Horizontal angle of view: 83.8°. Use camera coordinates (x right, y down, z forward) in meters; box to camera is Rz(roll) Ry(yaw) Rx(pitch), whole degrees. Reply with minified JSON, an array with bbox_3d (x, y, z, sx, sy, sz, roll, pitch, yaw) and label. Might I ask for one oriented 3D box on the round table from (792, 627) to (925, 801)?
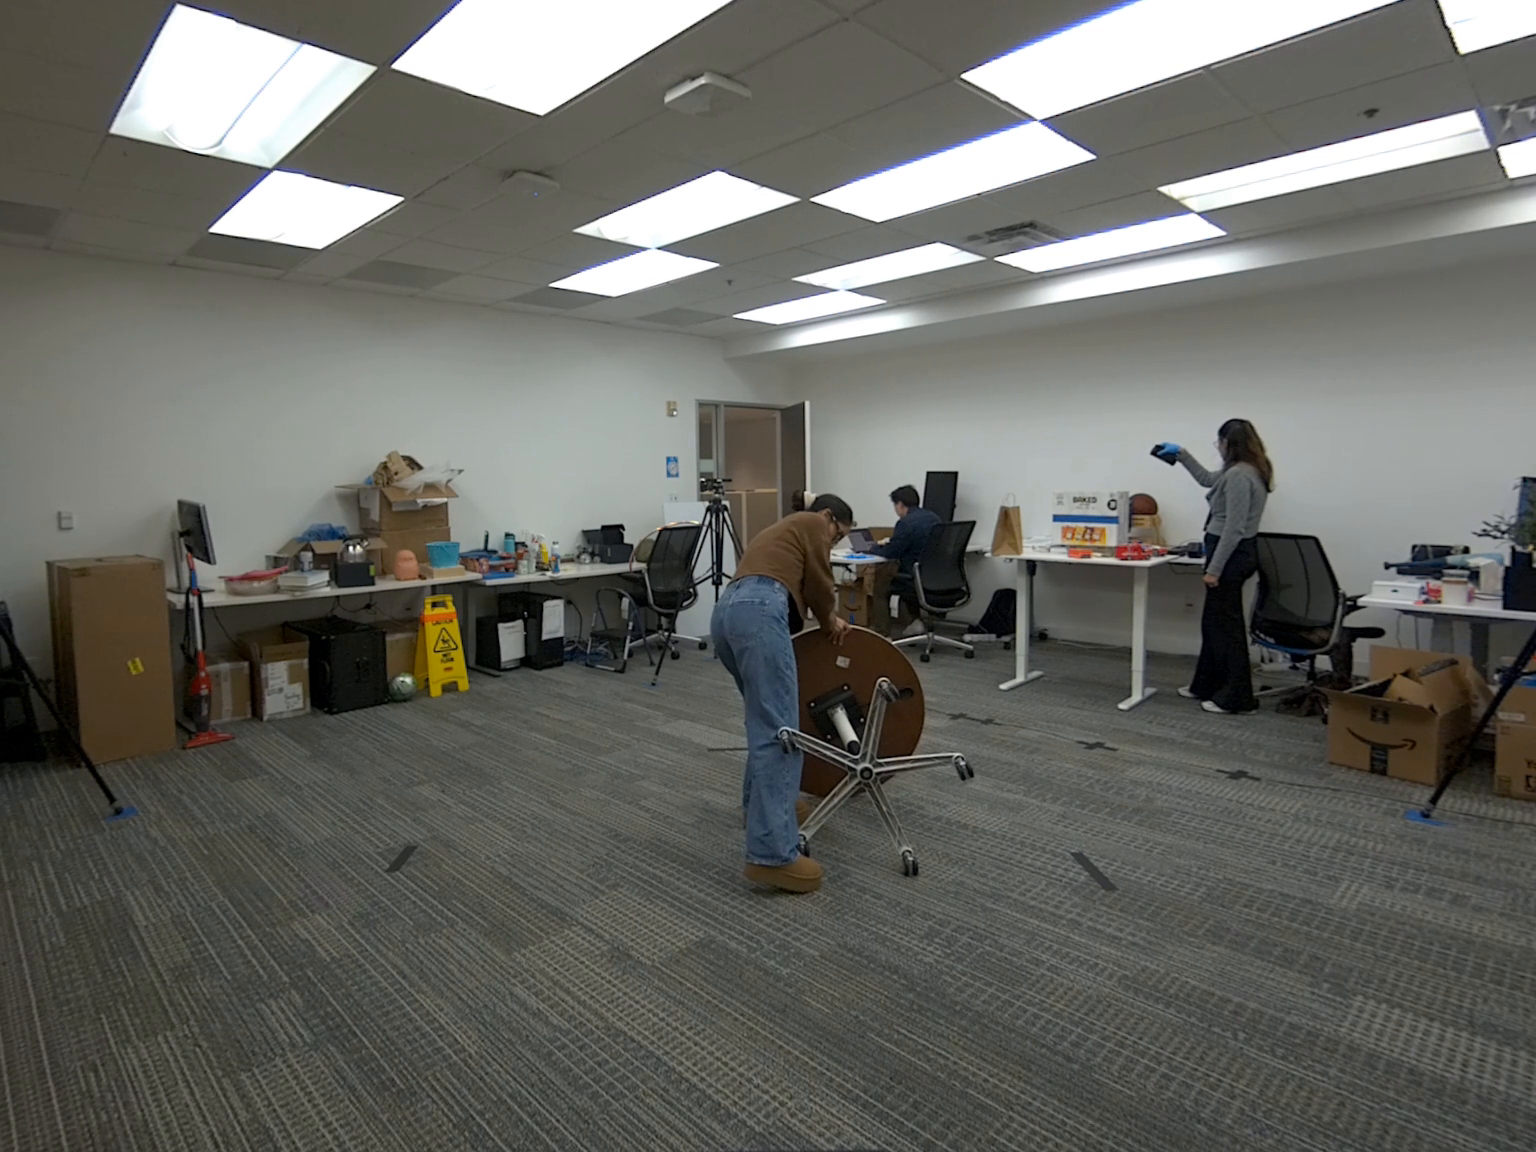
[{"bbox_3d":[0.343,0.654,3.328,0.762,0.758,0.802,-1,8,-3],"label":"round table"}]
